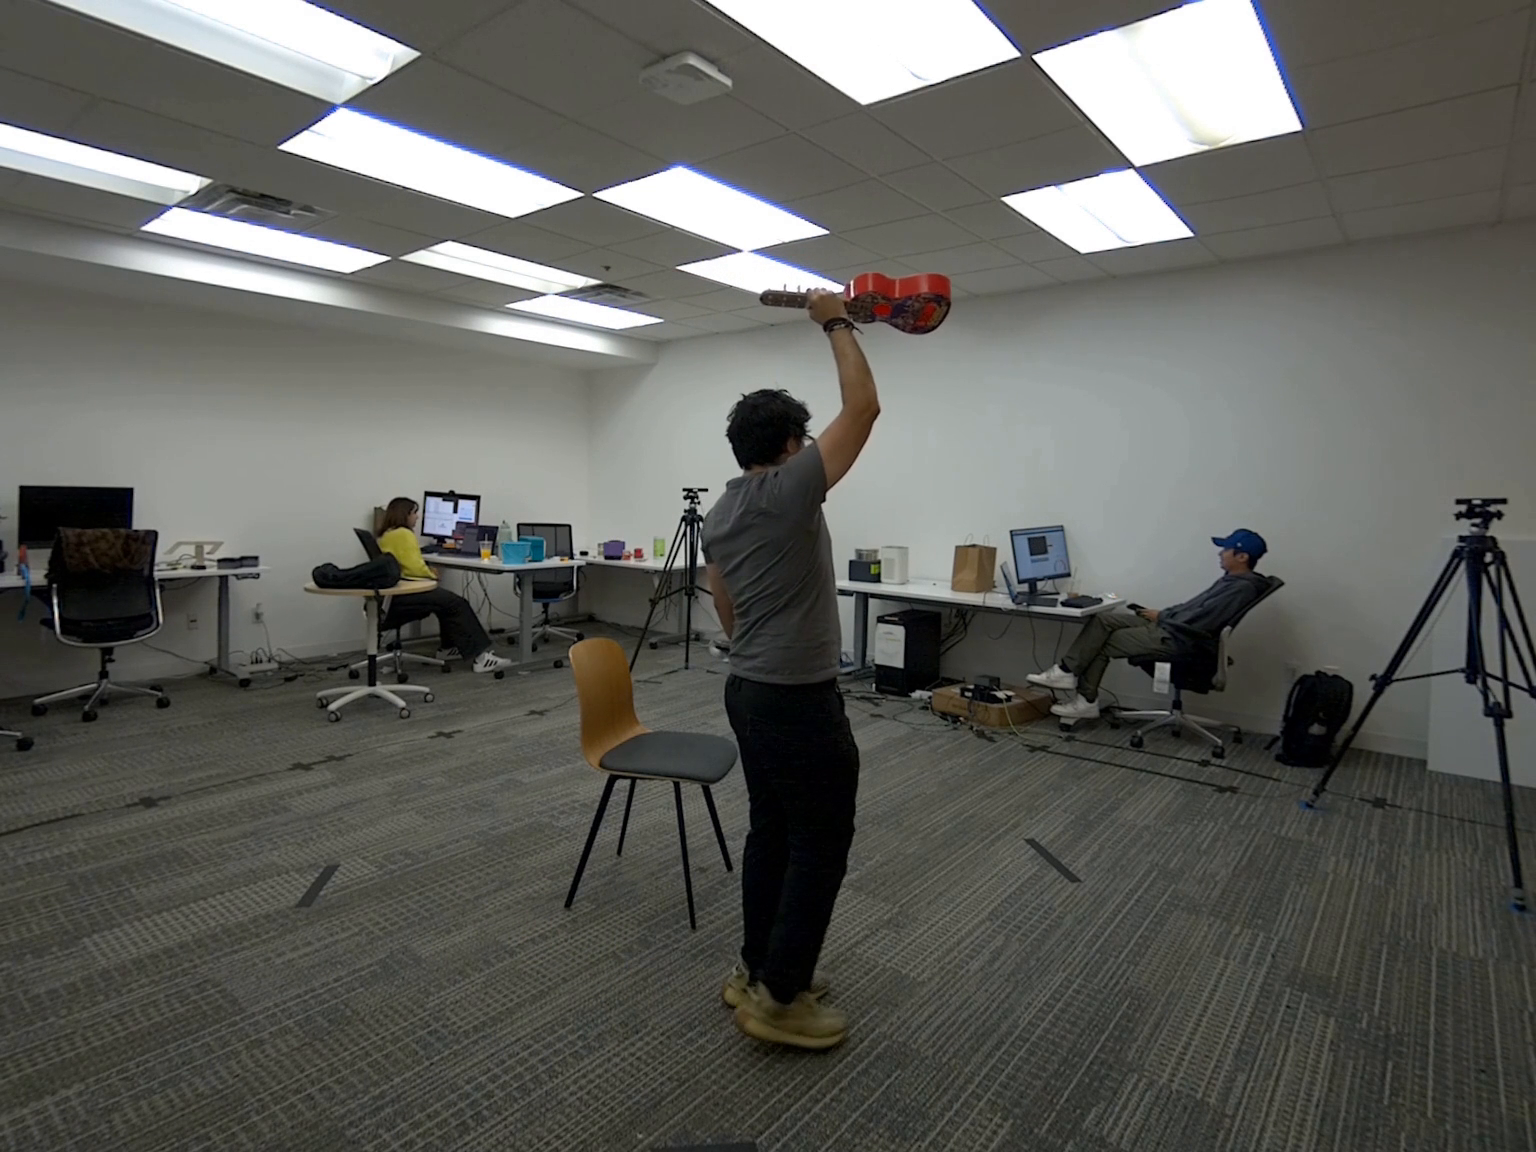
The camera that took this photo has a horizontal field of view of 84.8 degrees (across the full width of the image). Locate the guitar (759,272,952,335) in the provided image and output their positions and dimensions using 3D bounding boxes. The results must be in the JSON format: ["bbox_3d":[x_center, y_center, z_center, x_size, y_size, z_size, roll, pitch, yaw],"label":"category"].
[{"bbox_3d":[0.233,-0.736,2.216,0.491,0.072,0.193,8,-16,-12],"label":"guitar"}]
